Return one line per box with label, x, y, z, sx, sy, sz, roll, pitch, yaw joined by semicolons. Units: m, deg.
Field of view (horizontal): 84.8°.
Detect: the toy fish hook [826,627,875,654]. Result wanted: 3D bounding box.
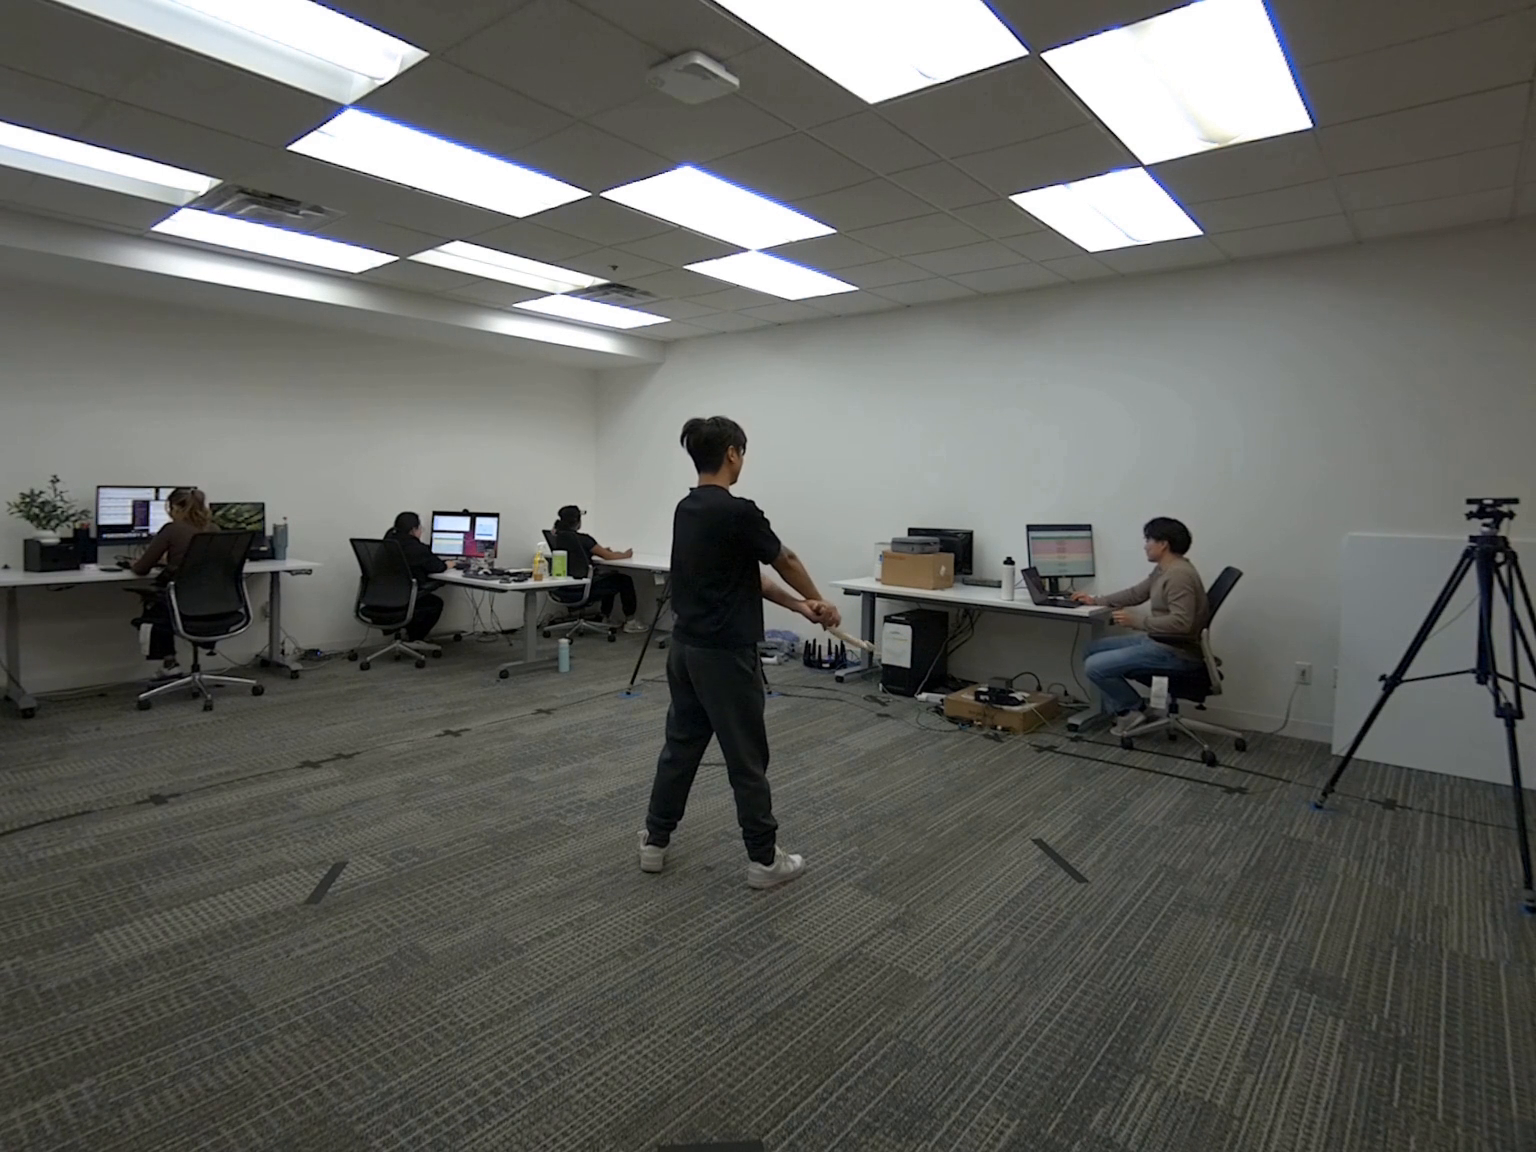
toy fish hook;0.268;0.203;3.255;0.231;0.048;0.491;22;-8;20
